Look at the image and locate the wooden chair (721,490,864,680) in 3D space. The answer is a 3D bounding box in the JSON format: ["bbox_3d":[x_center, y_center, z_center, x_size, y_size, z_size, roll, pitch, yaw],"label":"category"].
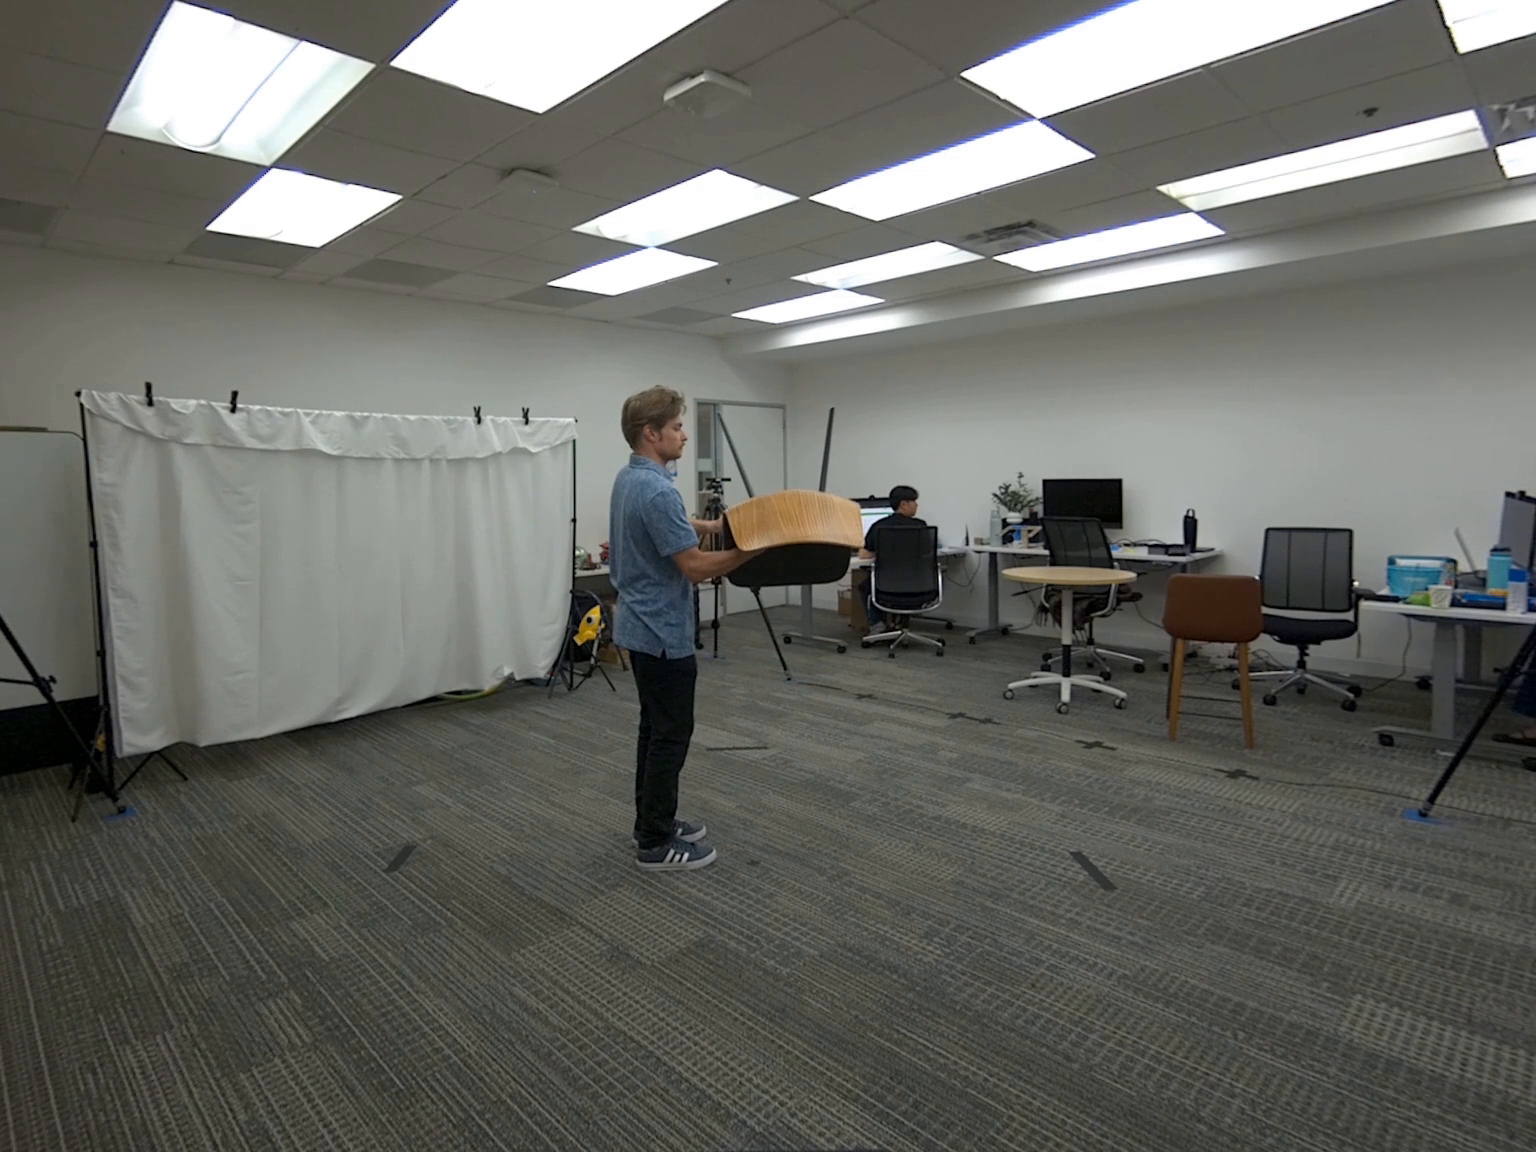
[{"bbox_3d":[0.072,-0.161,3.069,0.477,0.509,0.903,-3,38,-4],"label":"wooden chair"}]
